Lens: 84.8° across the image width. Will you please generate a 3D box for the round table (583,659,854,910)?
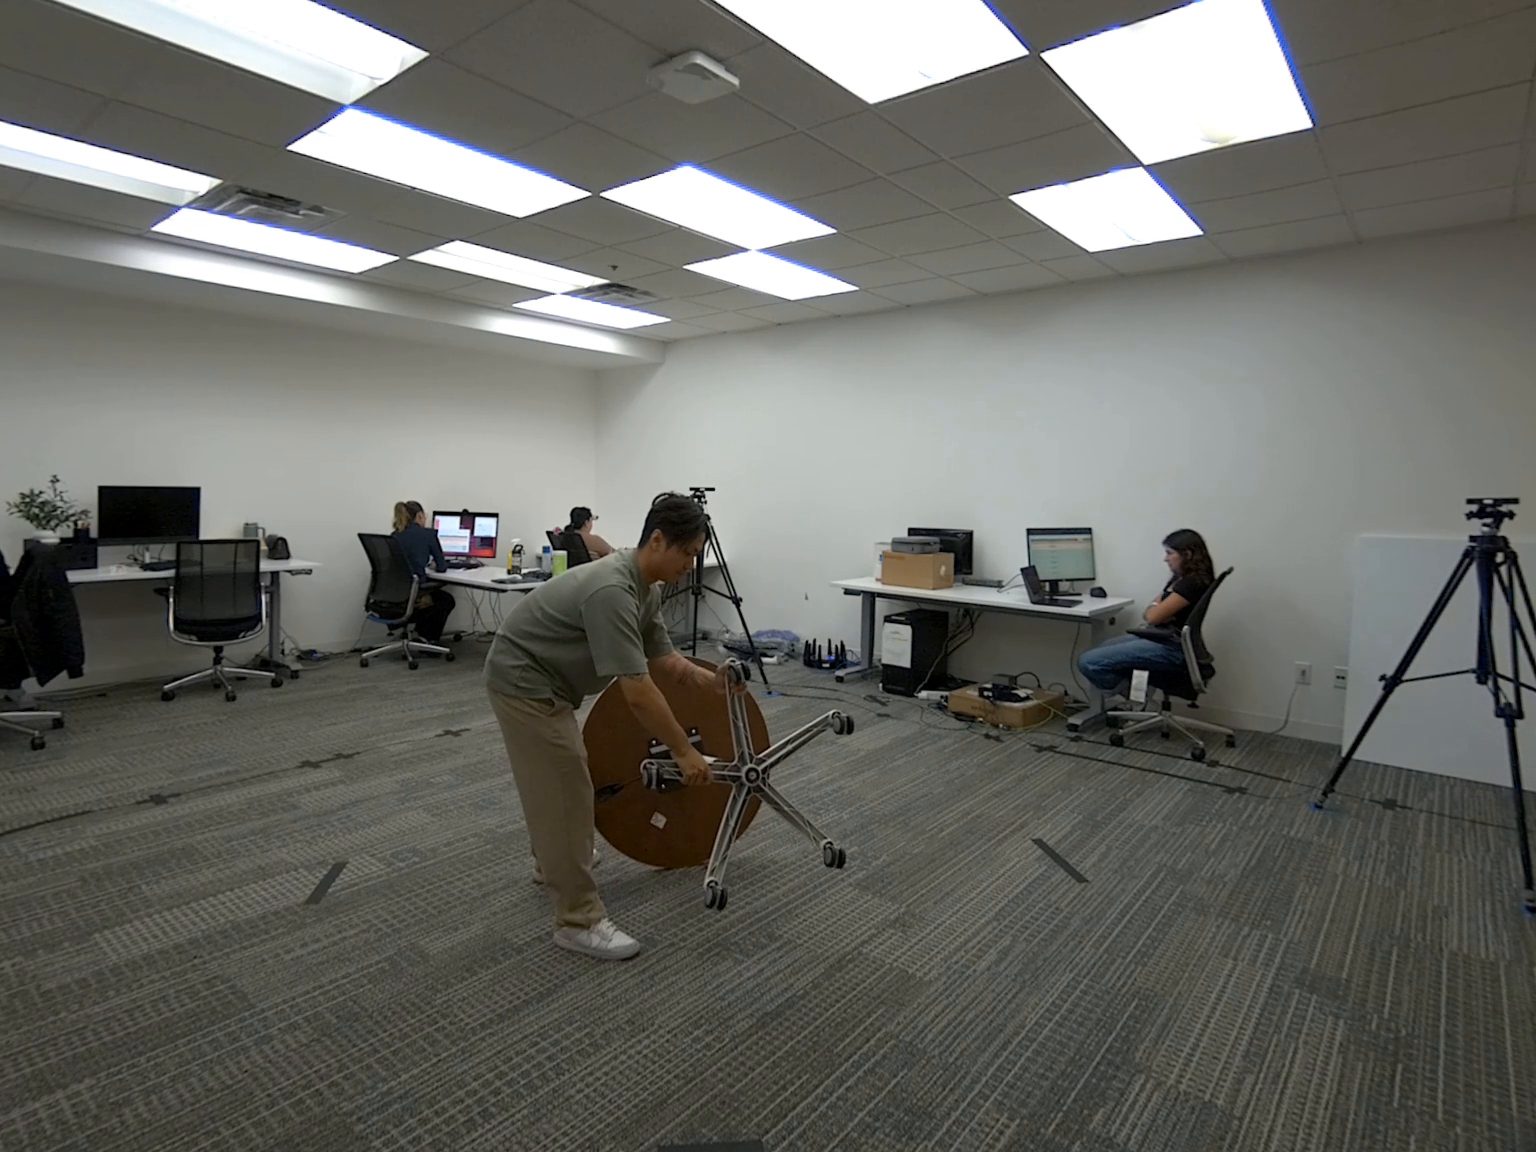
[{"bbox_3d":[-0.184,0.643,2.825,0.768,0.792,0.798,-1,-8,-23],"label":"round table"}]
